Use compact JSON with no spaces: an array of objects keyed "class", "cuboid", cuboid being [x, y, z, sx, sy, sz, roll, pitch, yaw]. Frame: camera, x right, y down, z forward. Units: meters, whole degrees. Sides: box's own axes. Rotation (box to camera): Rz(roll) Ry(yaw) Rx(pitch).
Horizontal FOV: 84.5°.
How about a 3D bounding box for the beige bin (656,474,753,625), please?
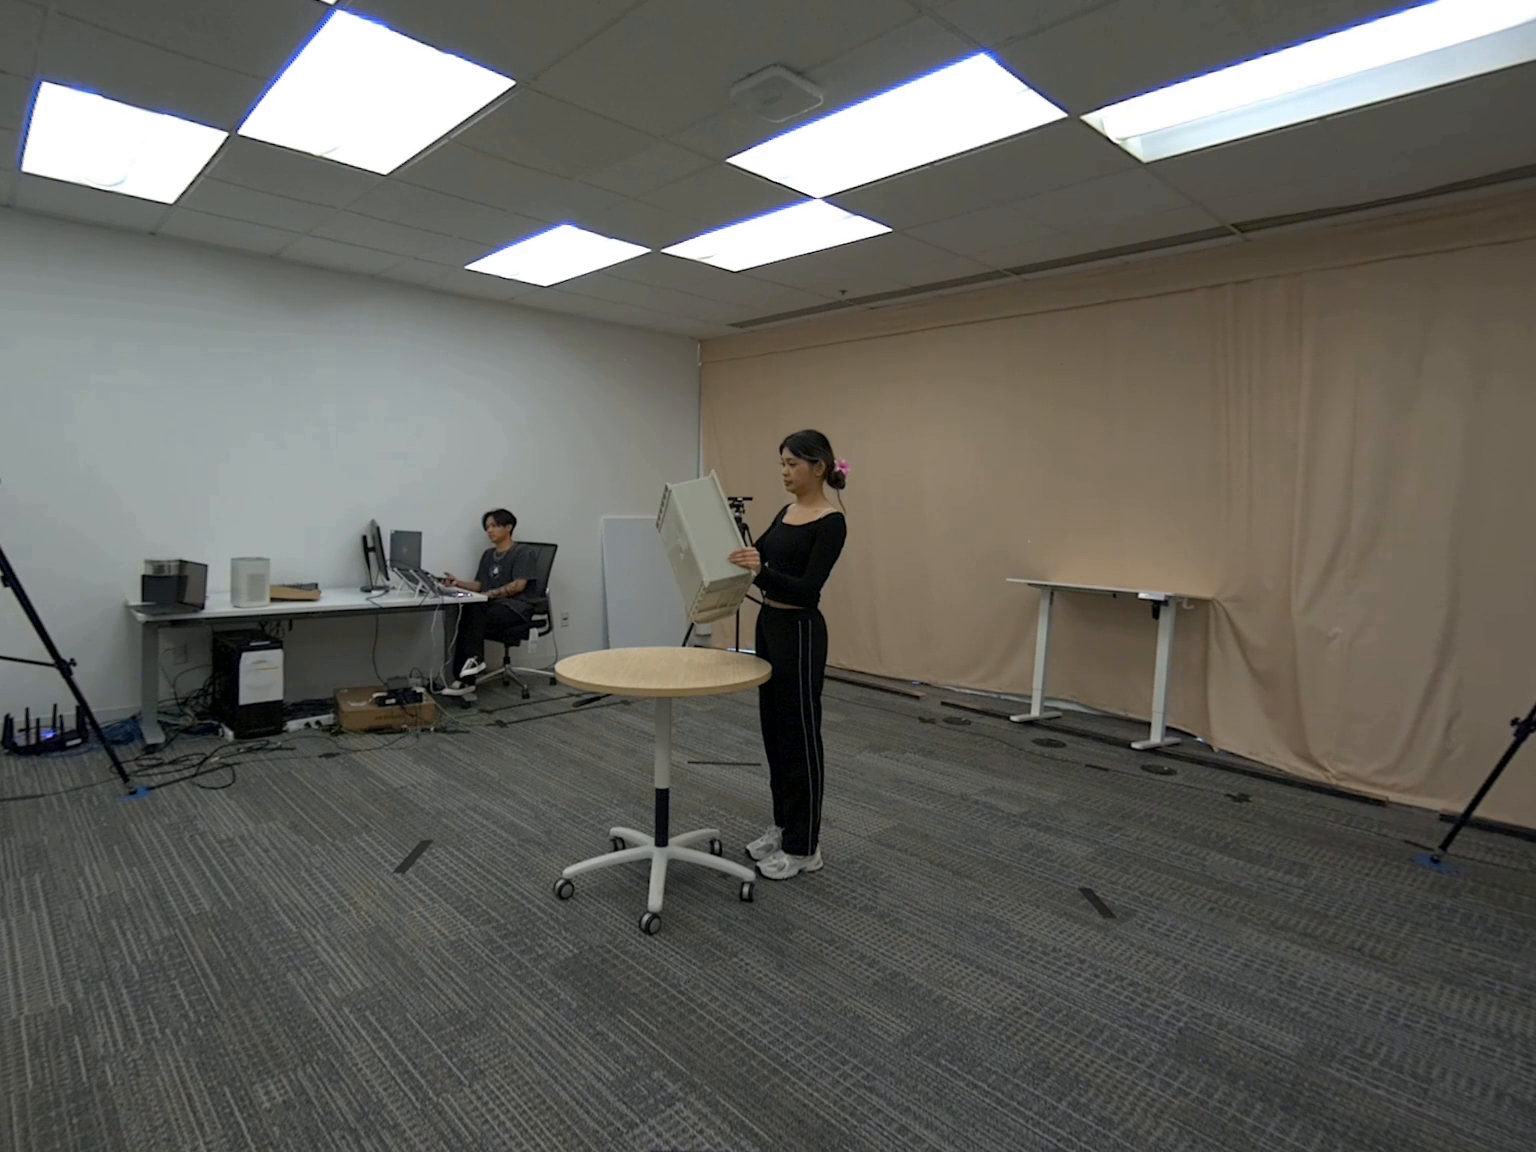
[{"class":"beige bin","cuboid":[-0.223,-0.092,3.010,0.187,0.431,0.374,-14,-22,-19]}]
